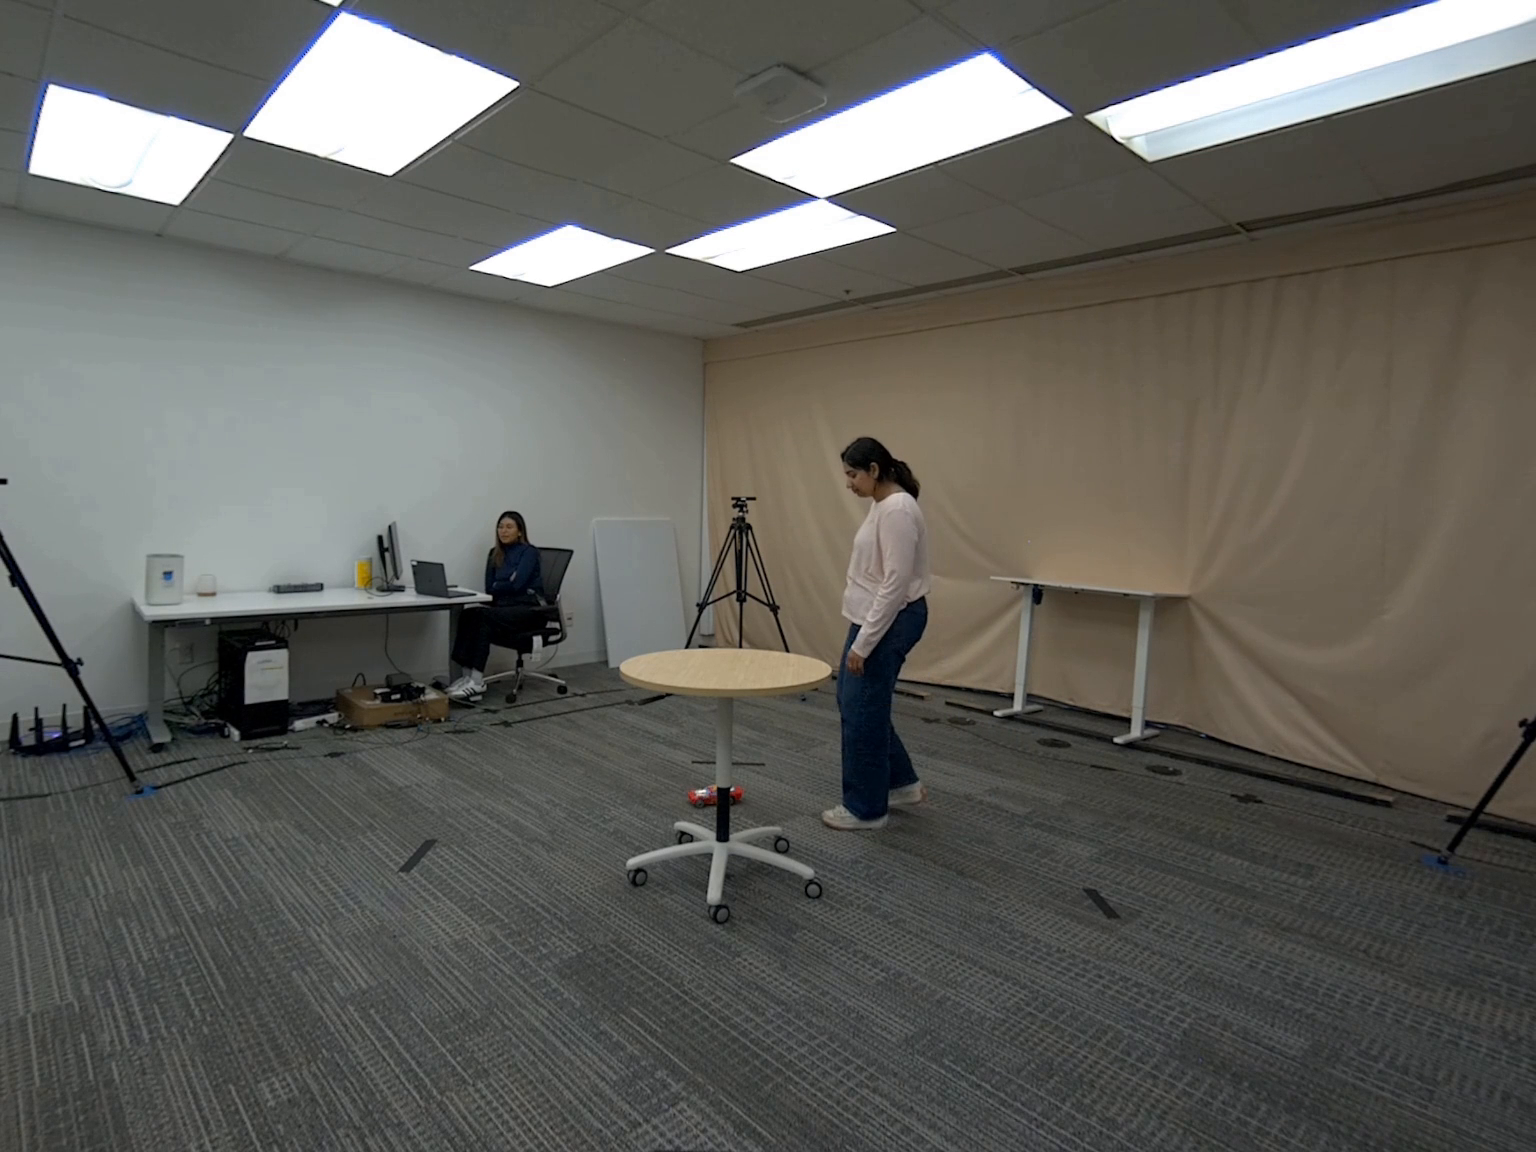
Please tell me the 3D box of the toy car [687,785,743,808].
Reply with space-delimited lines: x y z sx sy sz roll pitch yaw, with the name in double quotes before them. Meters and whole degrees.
"toy car" -0.243 1.003 3.864 0.252 0.083 0.132 -11 8 -17
